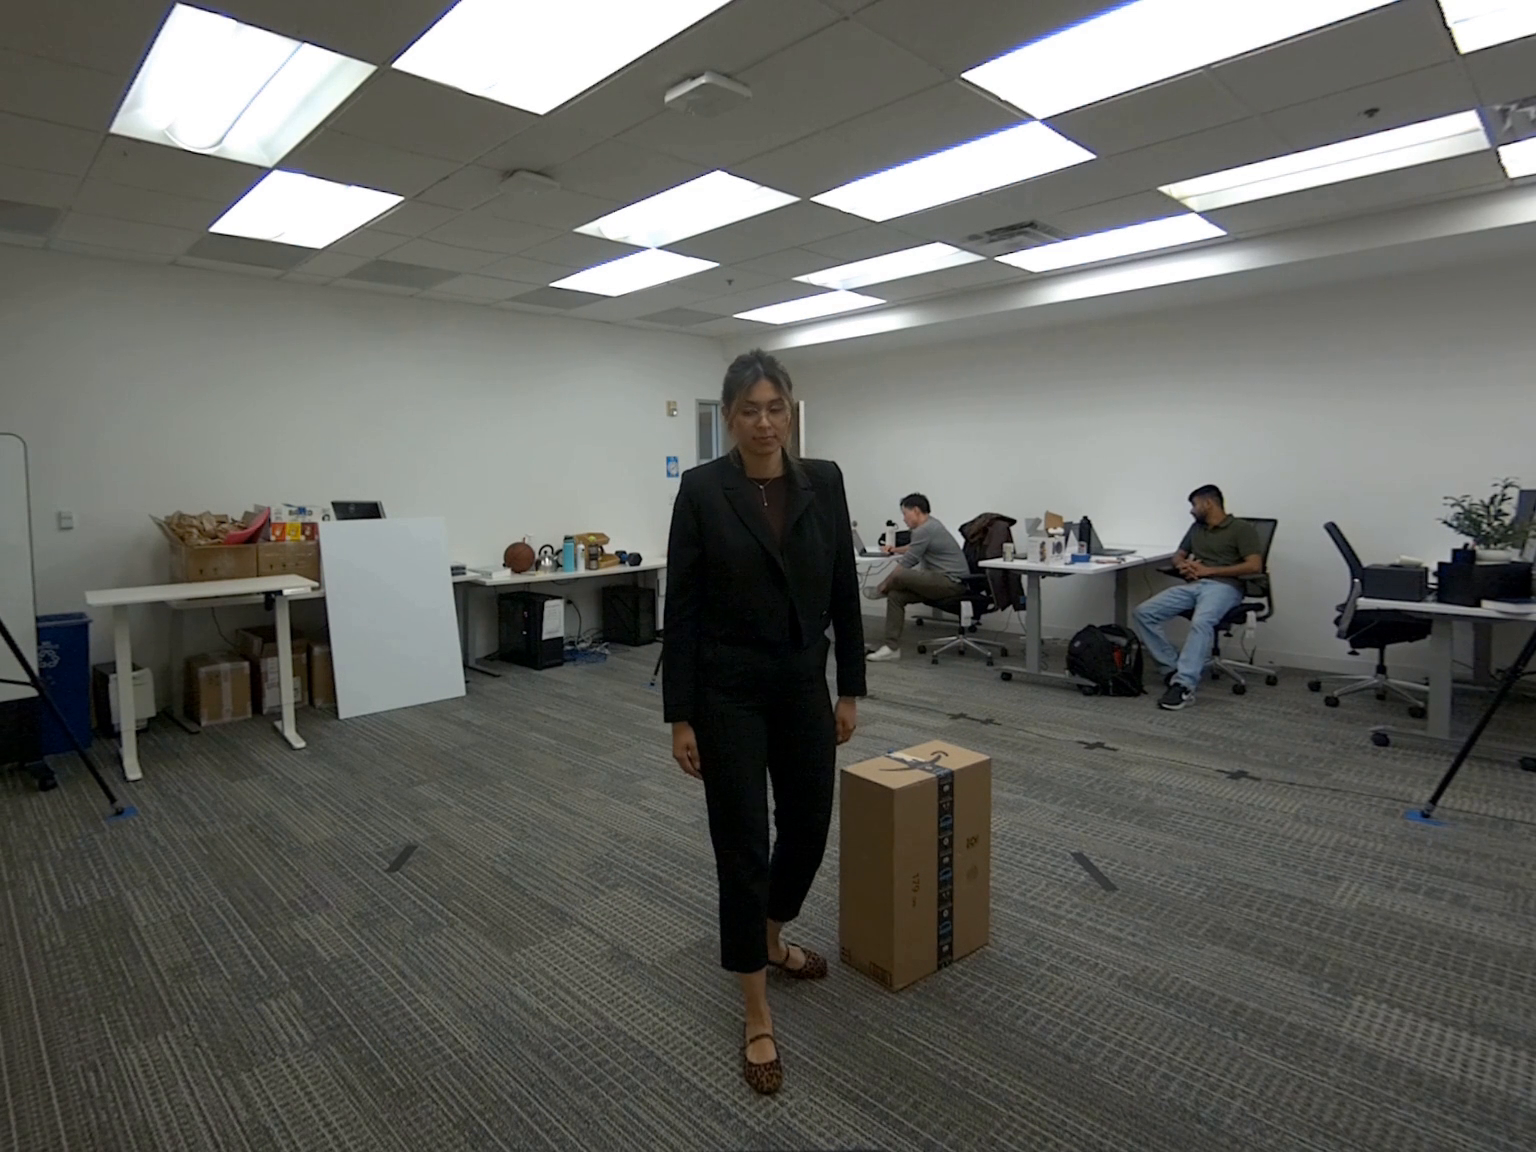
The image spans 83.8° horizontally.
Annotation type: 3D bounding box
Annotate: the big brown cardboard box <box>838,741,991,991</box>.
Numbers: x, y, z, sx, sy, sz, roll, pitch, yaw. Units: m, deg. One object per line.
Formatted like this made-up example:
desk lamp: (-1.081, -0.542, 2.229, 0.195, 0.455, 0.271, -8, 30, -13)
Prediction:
big brown cardboard box: (0.428, 0.827, 2.505, 0.407, 0.587, 0.240, -3, 5, -36)
